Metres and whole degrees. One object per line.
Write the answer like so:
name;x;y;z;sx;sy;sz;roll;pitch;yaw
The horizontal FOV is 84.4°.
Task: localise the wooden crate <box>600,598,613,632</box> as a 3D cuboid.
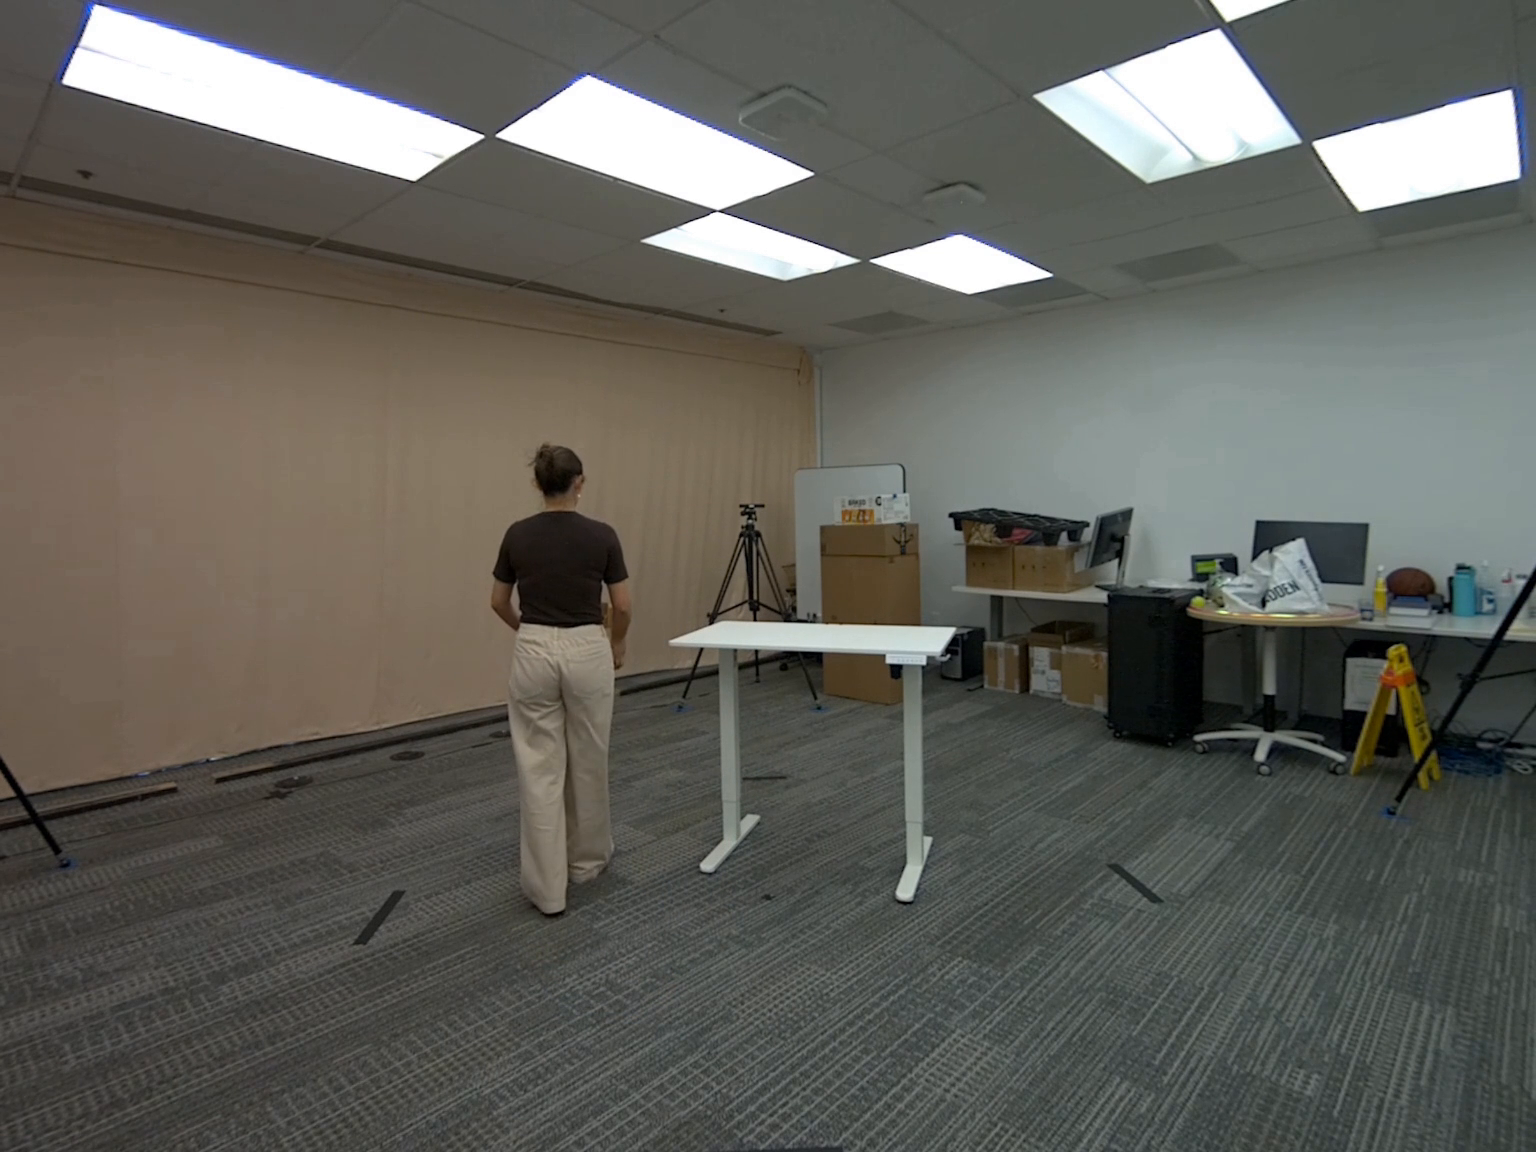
wooden crate;-0.779;0.232;3.327;0.324;0.274;0.301;1;-4;-1
